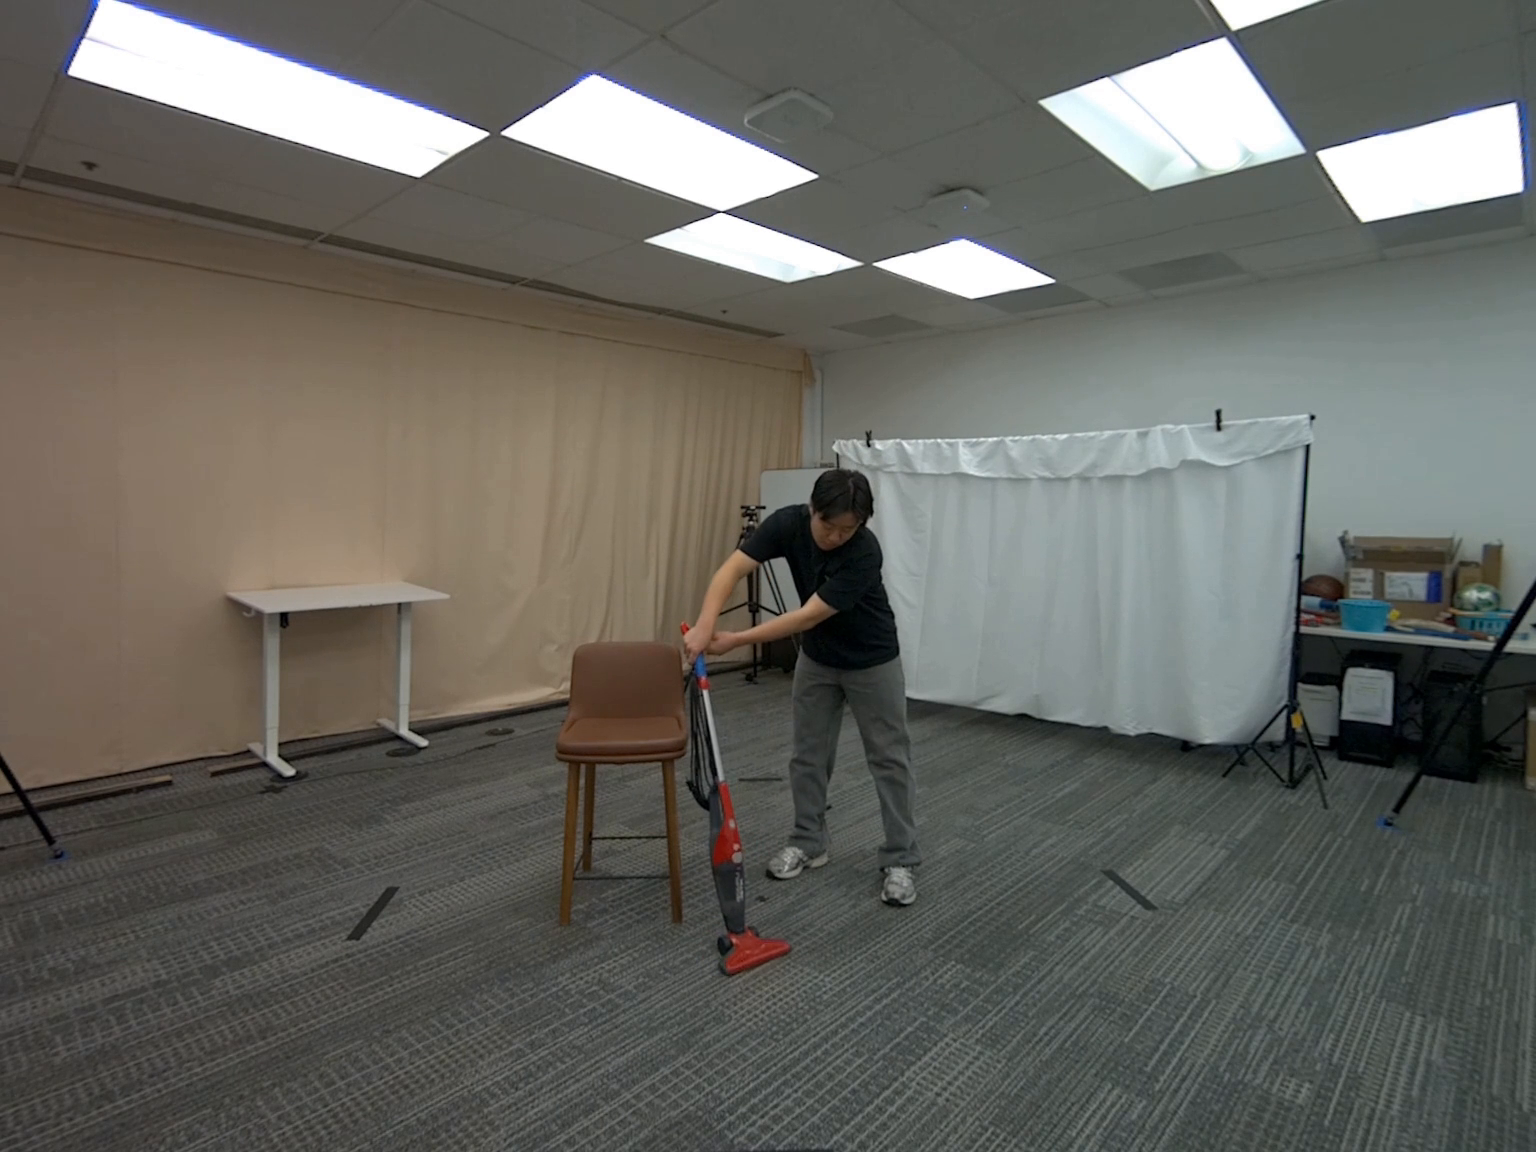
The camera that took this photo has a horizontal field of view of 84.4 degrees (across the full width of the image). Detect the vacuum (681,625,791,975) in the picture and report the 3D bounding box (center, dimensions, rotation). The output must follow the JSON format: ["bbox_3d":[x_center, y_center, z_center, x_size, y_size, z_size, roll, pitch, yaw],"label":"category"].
[{"bbox_3d":[-0.168,0.676,2.741,0.245,1.062,0.146,-2,-18,-39],"label":"vacuum"}]
